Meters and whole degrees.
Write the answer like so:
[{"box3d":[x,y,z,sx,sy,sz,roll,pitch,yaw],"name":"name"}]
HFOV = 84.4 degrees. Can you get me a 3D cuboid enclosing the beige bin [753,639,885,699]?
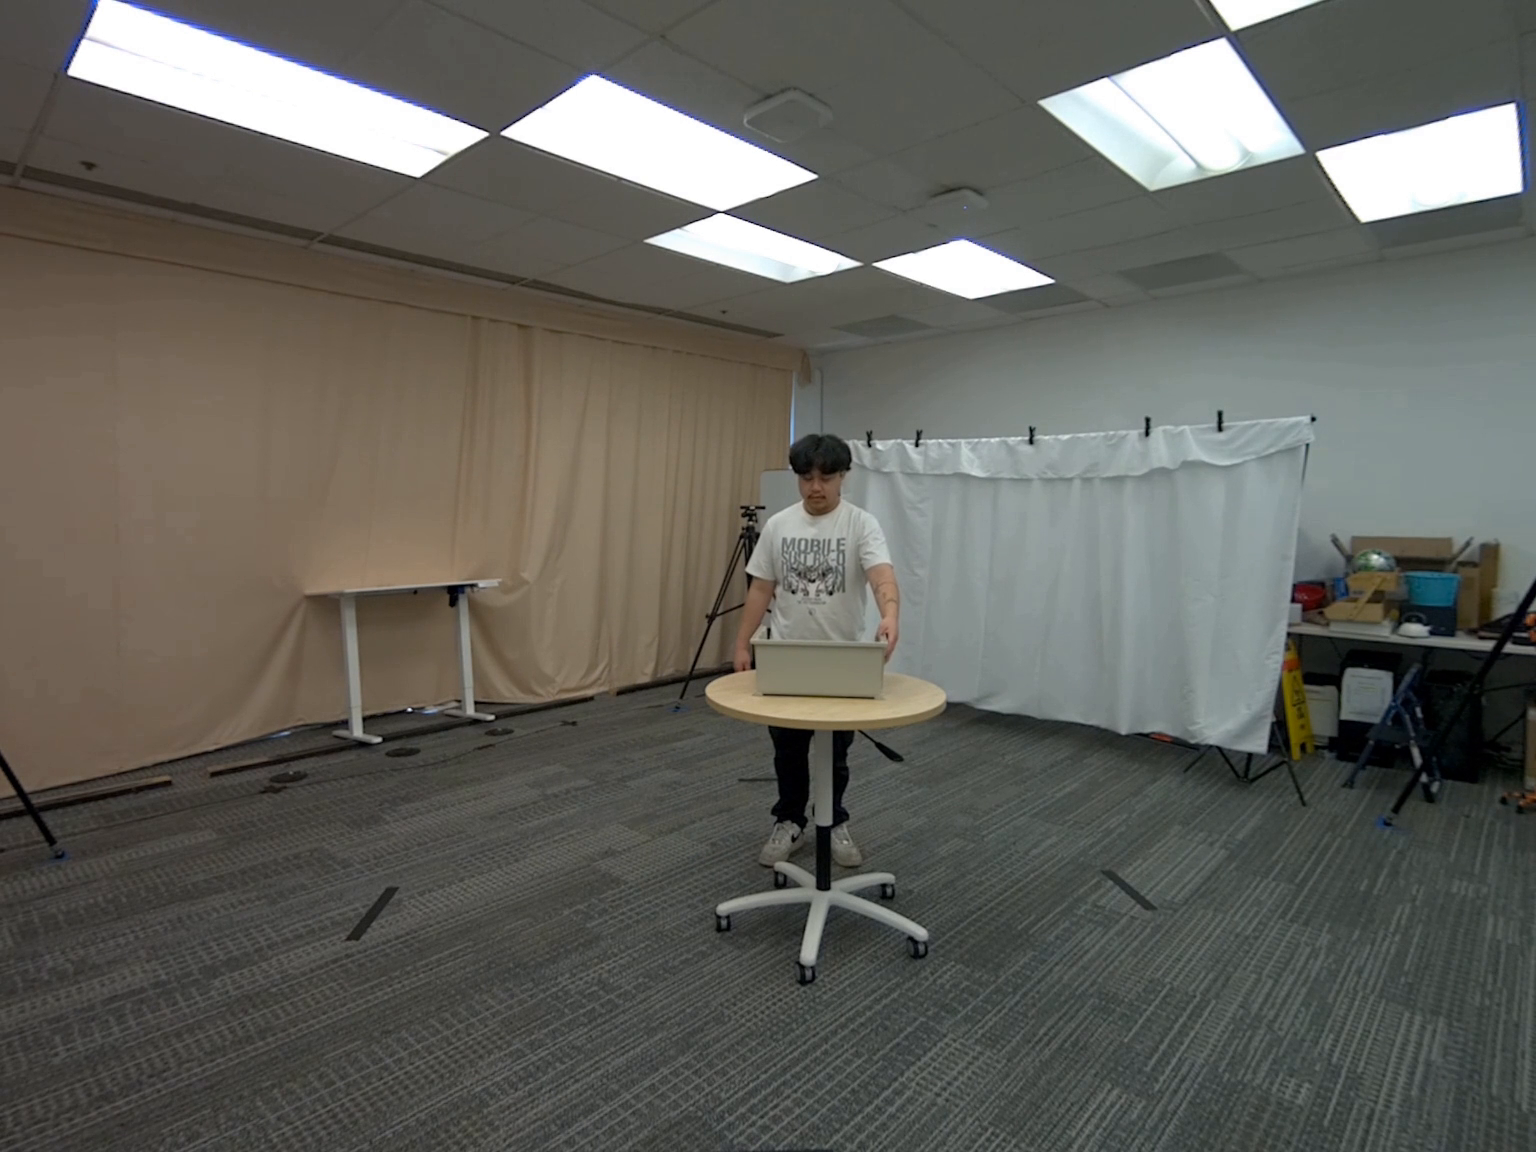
[{"box3d":[0.175,0.271,2.786,0.426,0.188,0.375,1,7,7],"name":"beige bin"}]
